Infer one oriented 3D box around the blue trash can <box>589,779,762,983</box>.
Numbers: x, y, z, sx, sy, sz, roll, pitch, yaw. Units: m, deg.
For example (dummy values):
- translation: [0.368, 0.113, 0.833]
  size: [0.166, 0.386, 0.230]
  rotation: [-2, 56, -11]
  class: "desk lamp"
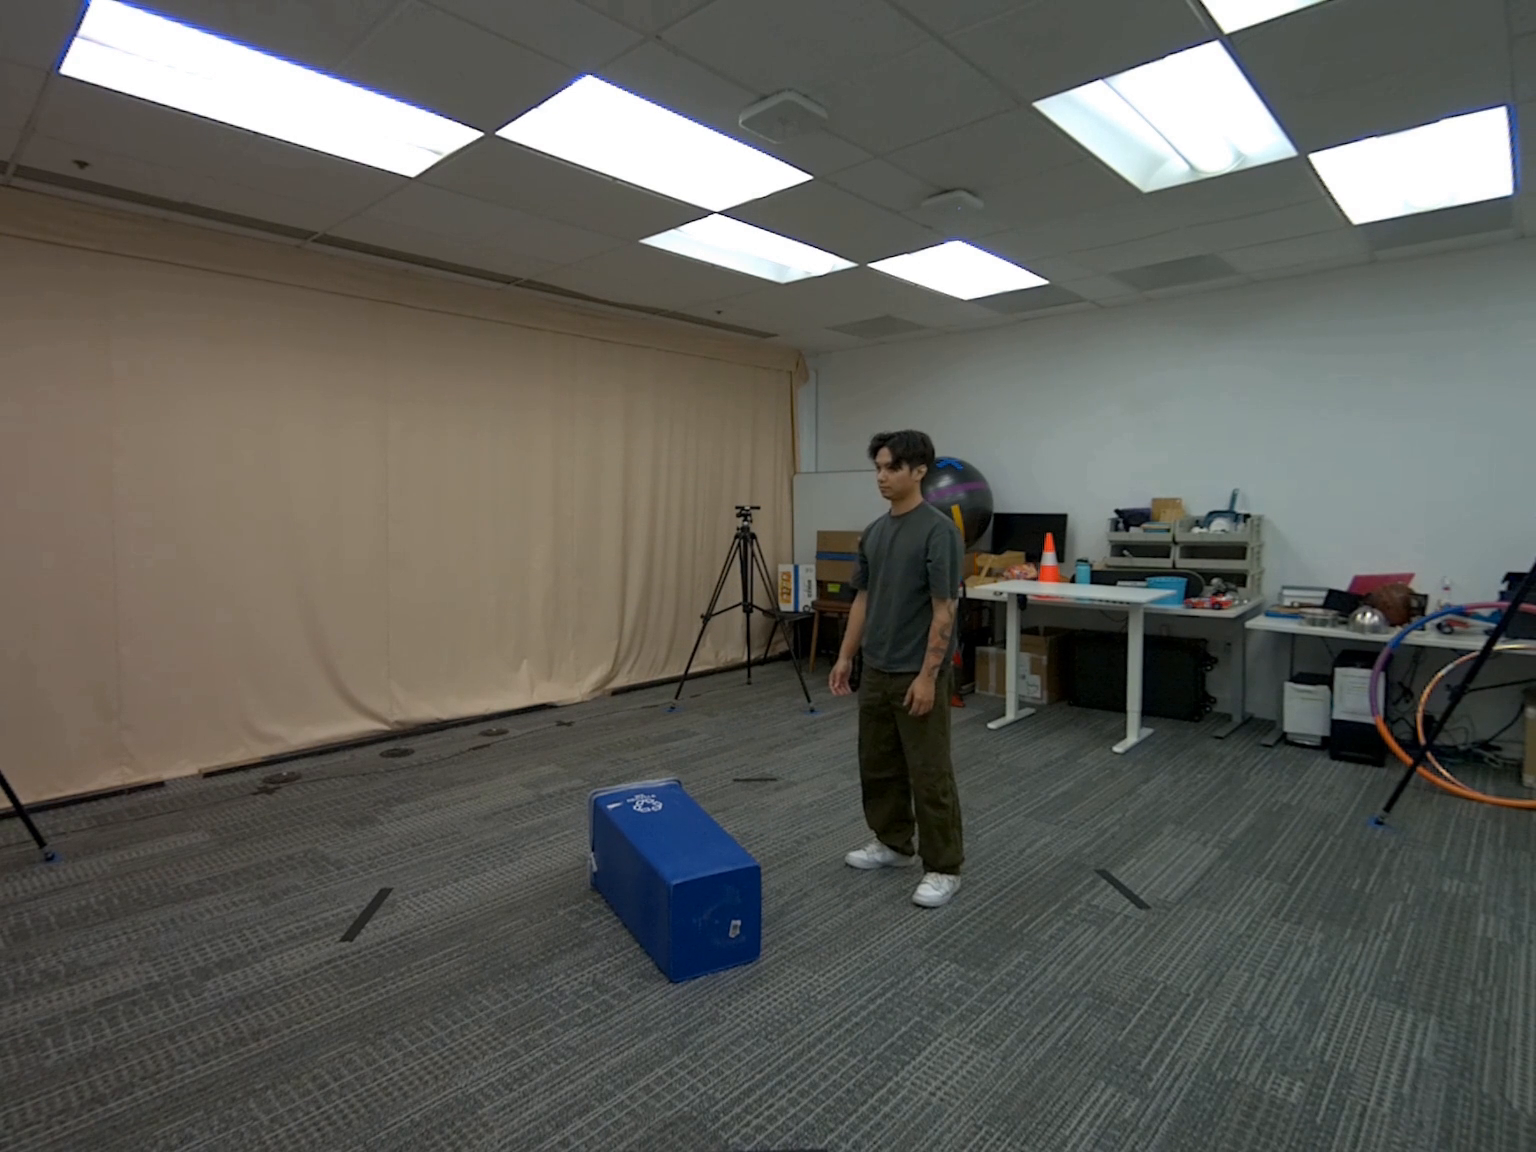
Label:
- translation: [-0.324, 0.995, 2.816]
  size: [0.369, 0.373, 0.734]
  rotation: [-2, 7, -27]
  class: "blue trash can"
